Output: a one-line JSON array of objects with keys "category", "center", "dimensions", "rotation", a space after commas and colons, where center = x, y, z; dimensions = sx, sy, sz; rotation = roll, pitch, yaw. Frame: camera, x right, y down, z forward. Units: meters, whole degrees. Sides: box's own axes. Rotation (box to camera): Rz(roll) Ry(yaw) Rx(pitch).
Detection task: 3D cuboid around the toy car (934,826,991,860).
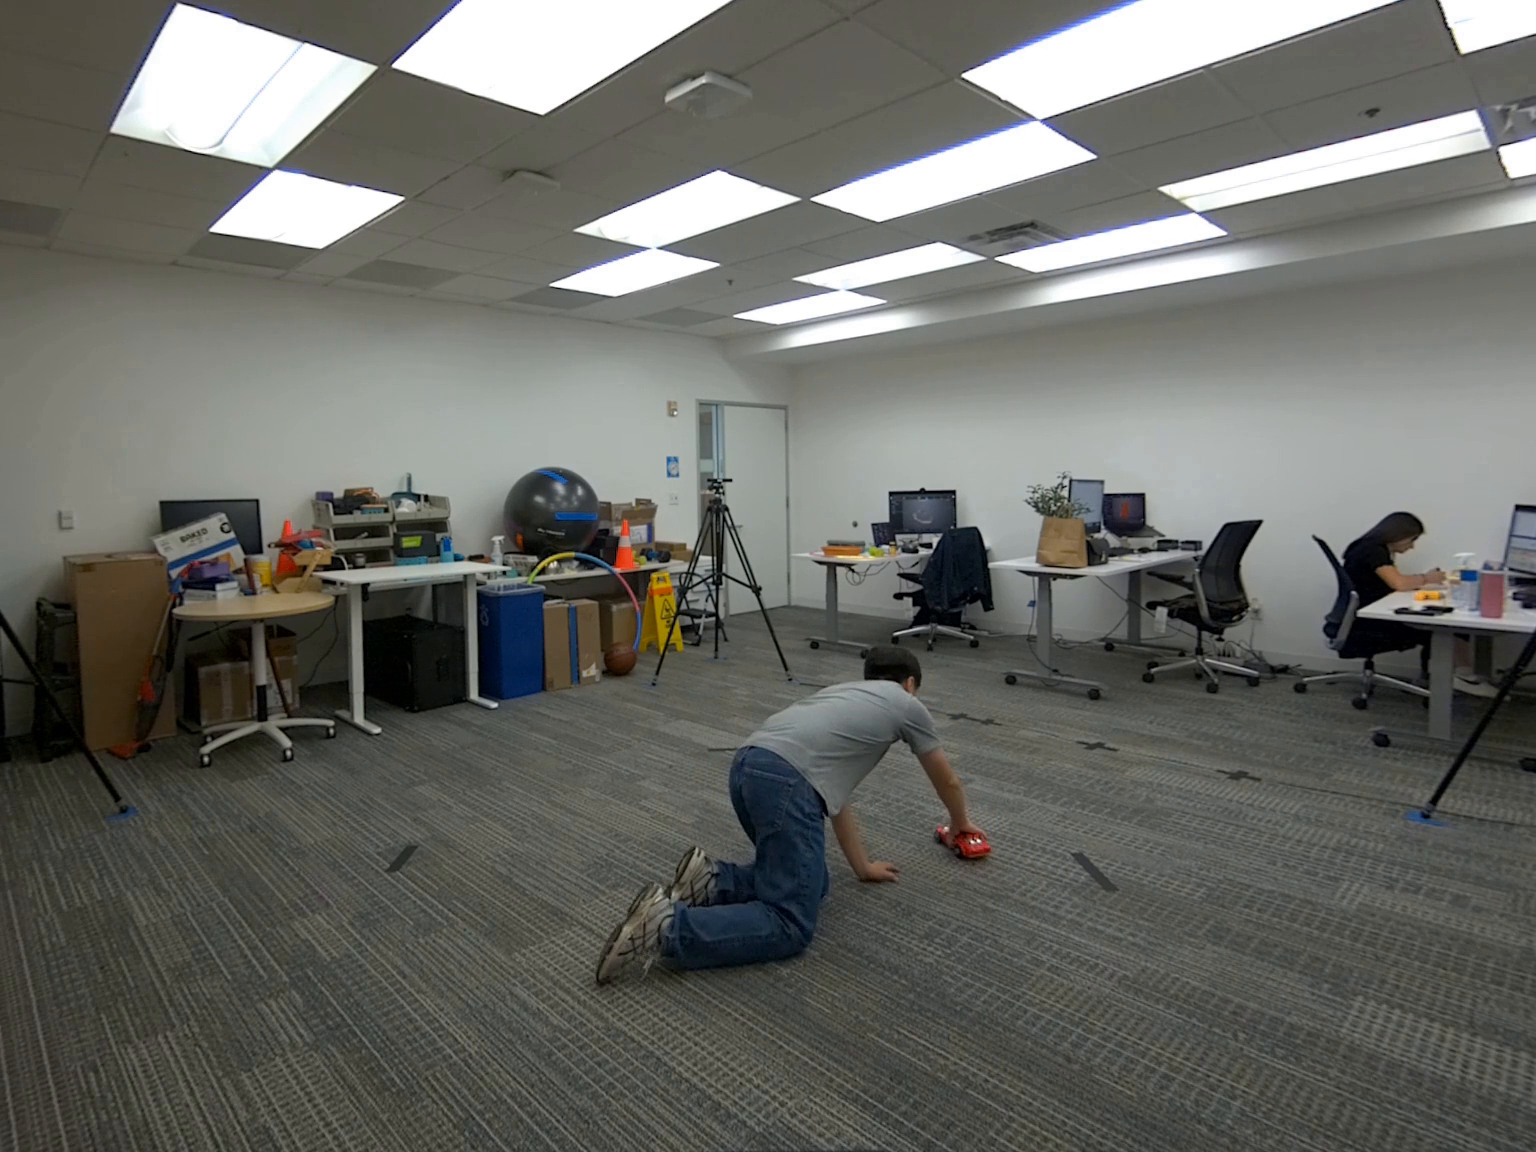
[{"category": "toy car", "center": [0.739, 0.996, 3.179], "dimensions": [0.128, 0.083, 0.257], "rotation": [-2, -4, -19]}]
